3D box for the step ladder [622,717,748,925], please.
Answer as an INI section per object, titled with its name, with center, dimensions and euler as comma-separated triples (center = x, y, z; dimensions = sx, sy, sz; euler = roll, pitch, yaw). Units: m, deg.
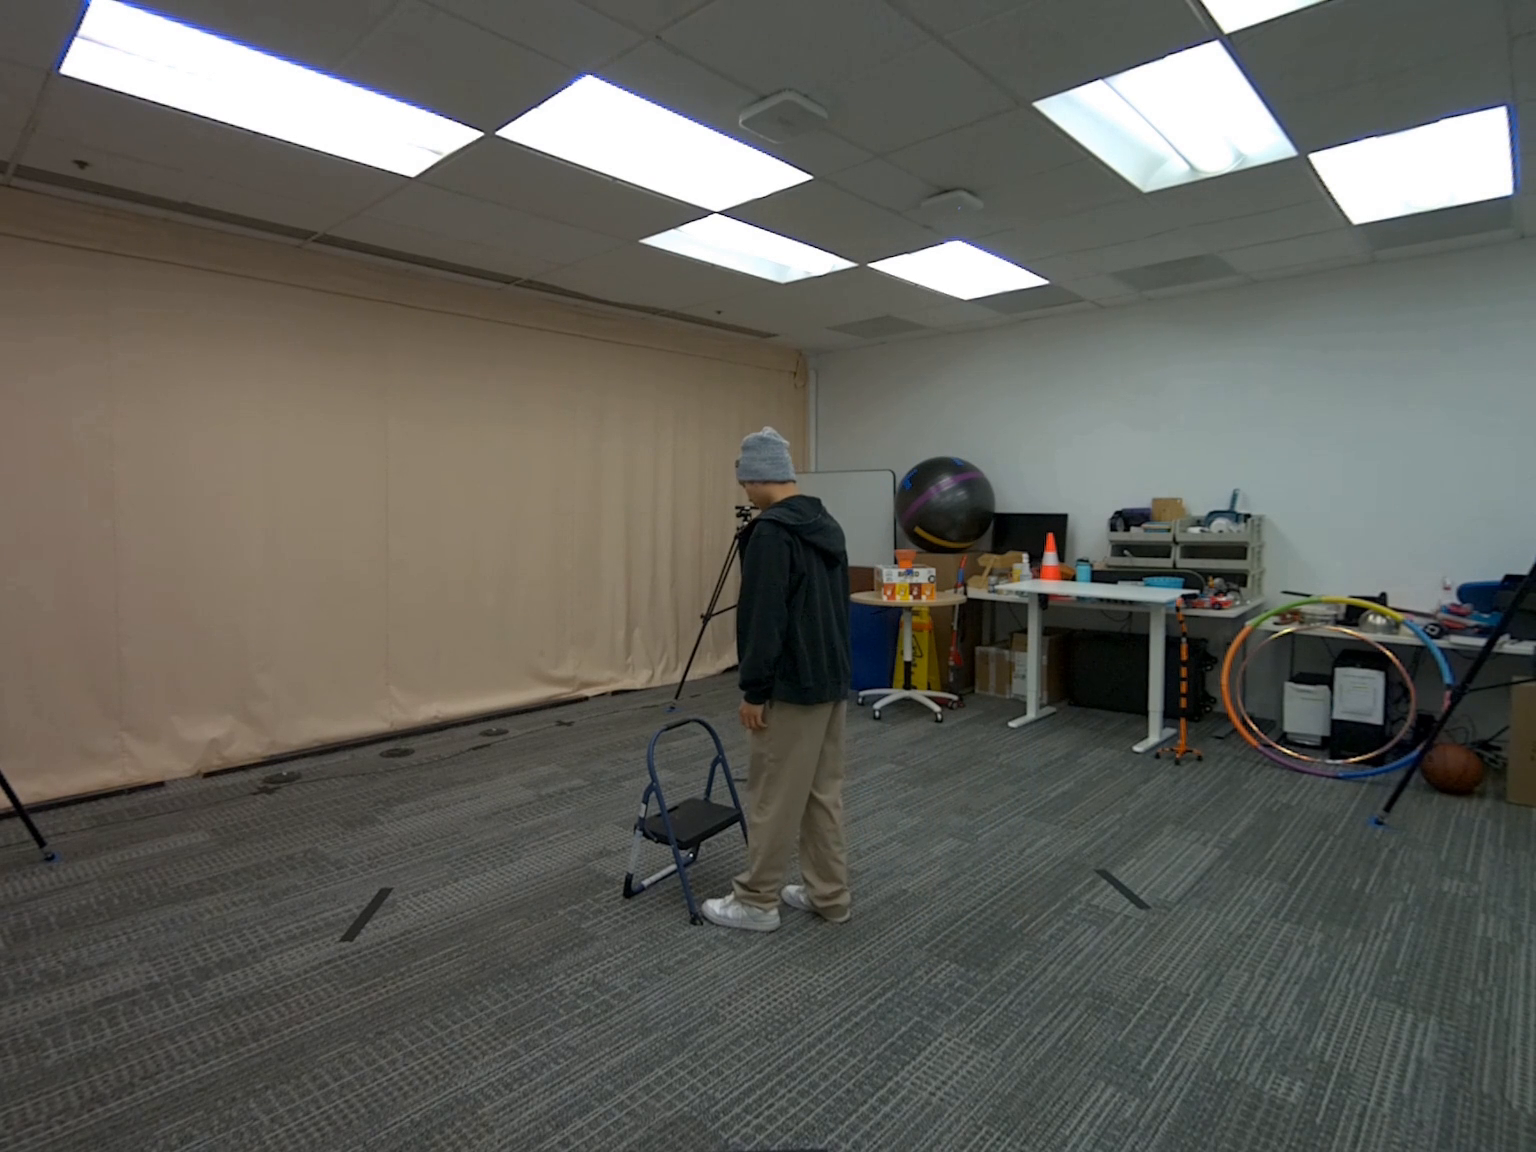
[step ladder]
center = -0.266, 0.837, 3.049
dimensions = 0.360, 0.605, 0.418
euler = 2, 4, 34
